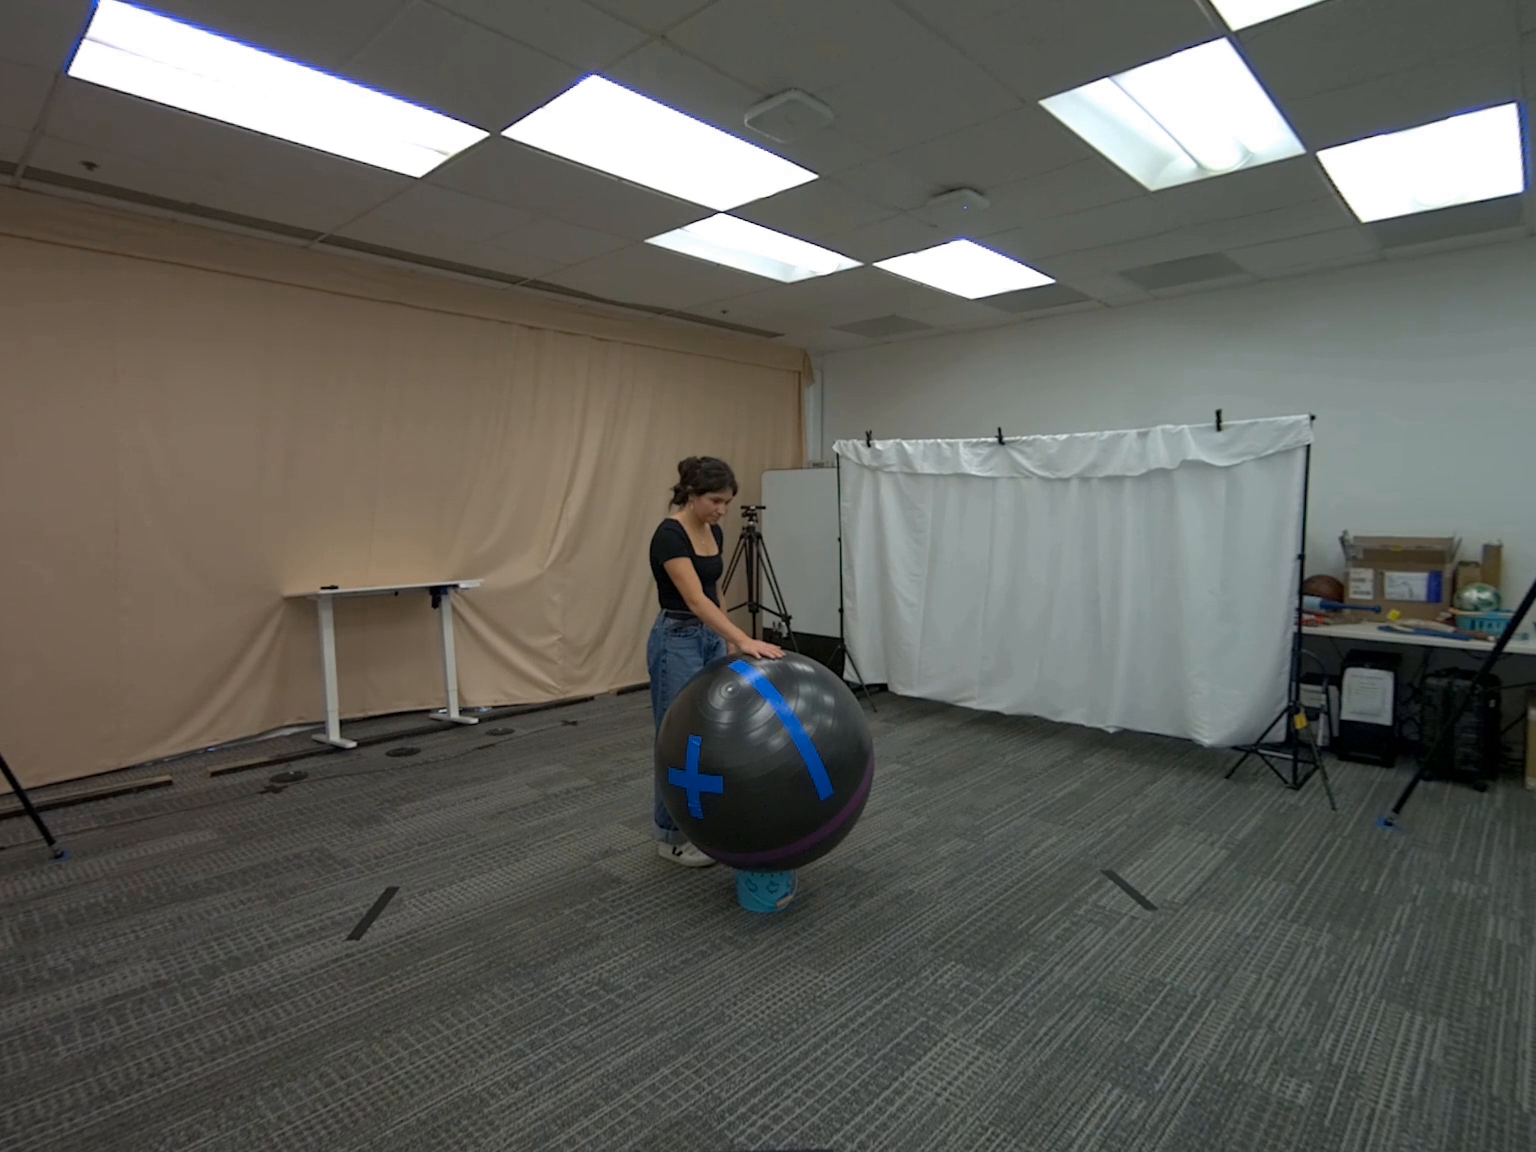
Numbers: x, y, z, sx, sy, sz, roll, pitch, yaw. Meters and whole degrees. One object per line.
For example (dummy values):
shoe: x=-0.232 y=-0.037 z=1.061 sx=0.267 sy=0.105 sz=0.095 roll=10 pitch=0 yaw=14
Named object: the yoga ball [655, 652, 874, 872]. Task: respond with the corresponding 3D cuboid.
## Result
yoga ball: x=-0.010 y=0.637 z=2.943 sx=0.757 sy=0.756 sz=0.760 roll=0 pitch=4 yaw=-2
